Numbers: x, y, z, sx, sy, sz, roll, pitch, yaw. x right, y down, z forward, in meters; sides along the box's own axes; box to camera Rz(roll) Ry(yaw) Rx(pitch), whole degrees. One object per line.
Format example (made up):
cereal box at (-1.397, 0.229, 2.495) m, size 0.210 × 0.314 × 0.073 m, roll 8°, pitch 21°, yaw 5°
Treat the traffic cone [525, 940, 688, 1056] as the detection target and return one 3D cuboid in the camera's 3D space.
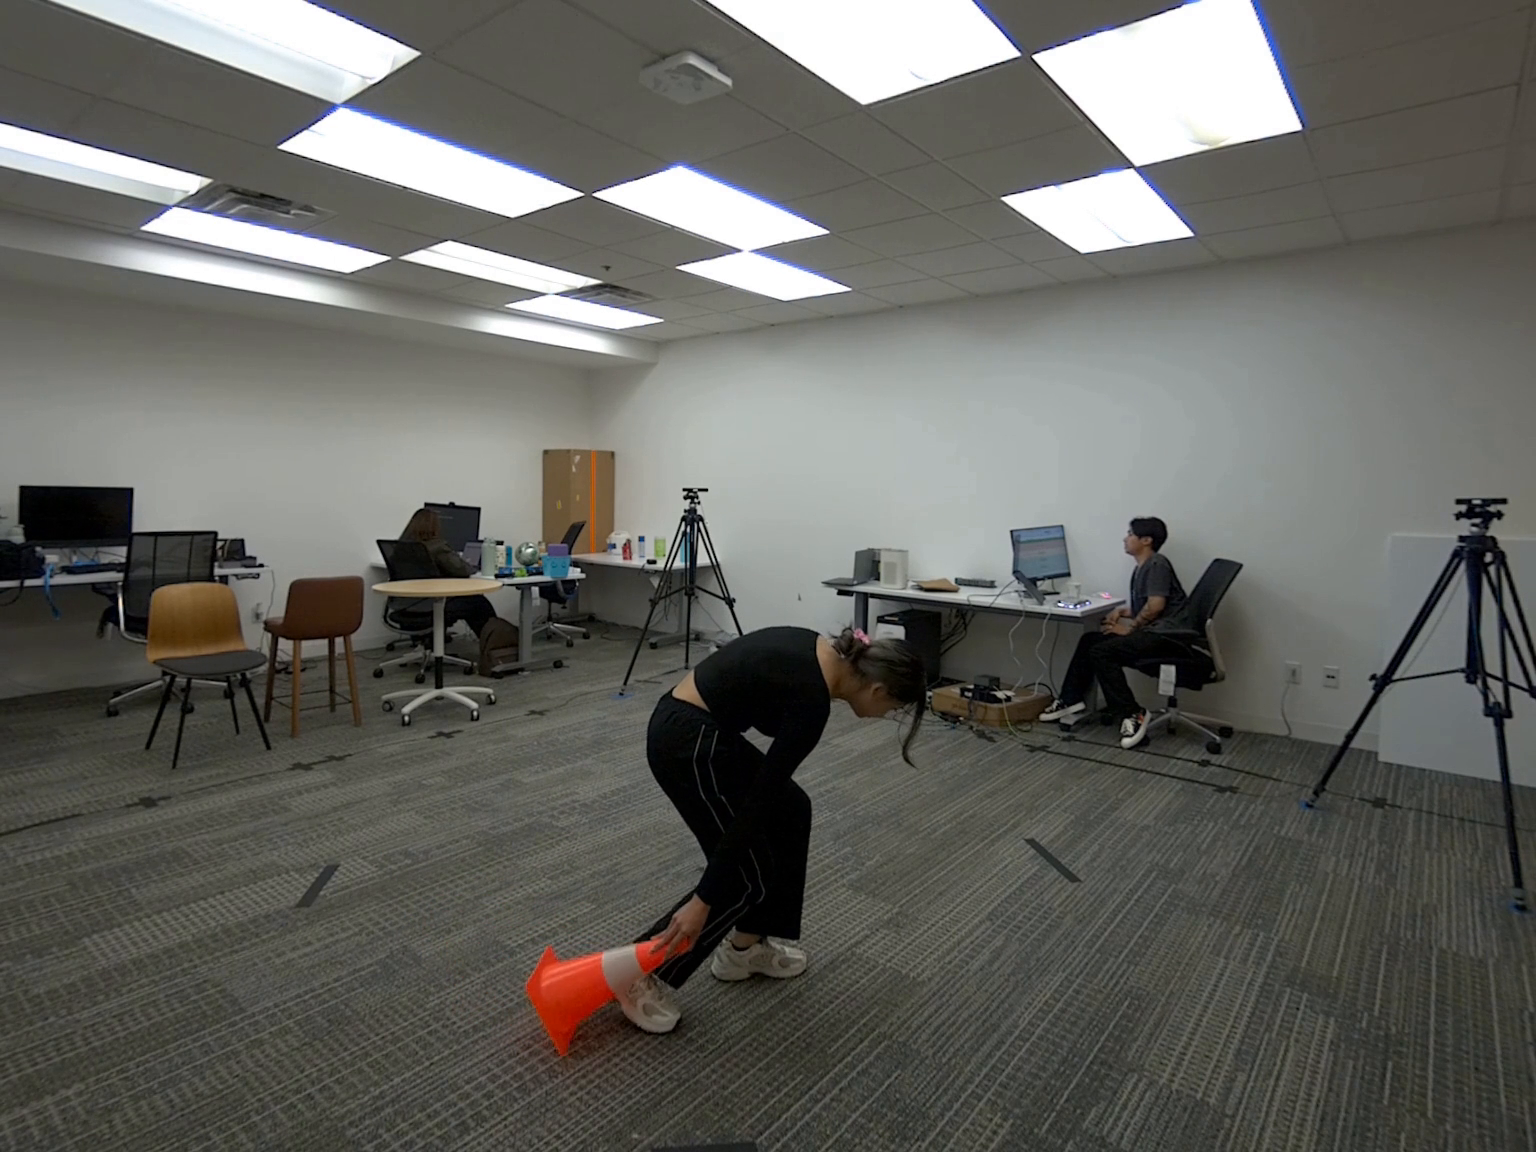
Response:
traffic cone at (-0.380, 0.992, 2.141) m, size 0.385 × 0.205 × 0.203 m, roll -28°, pitch -4°, yaw 7°
